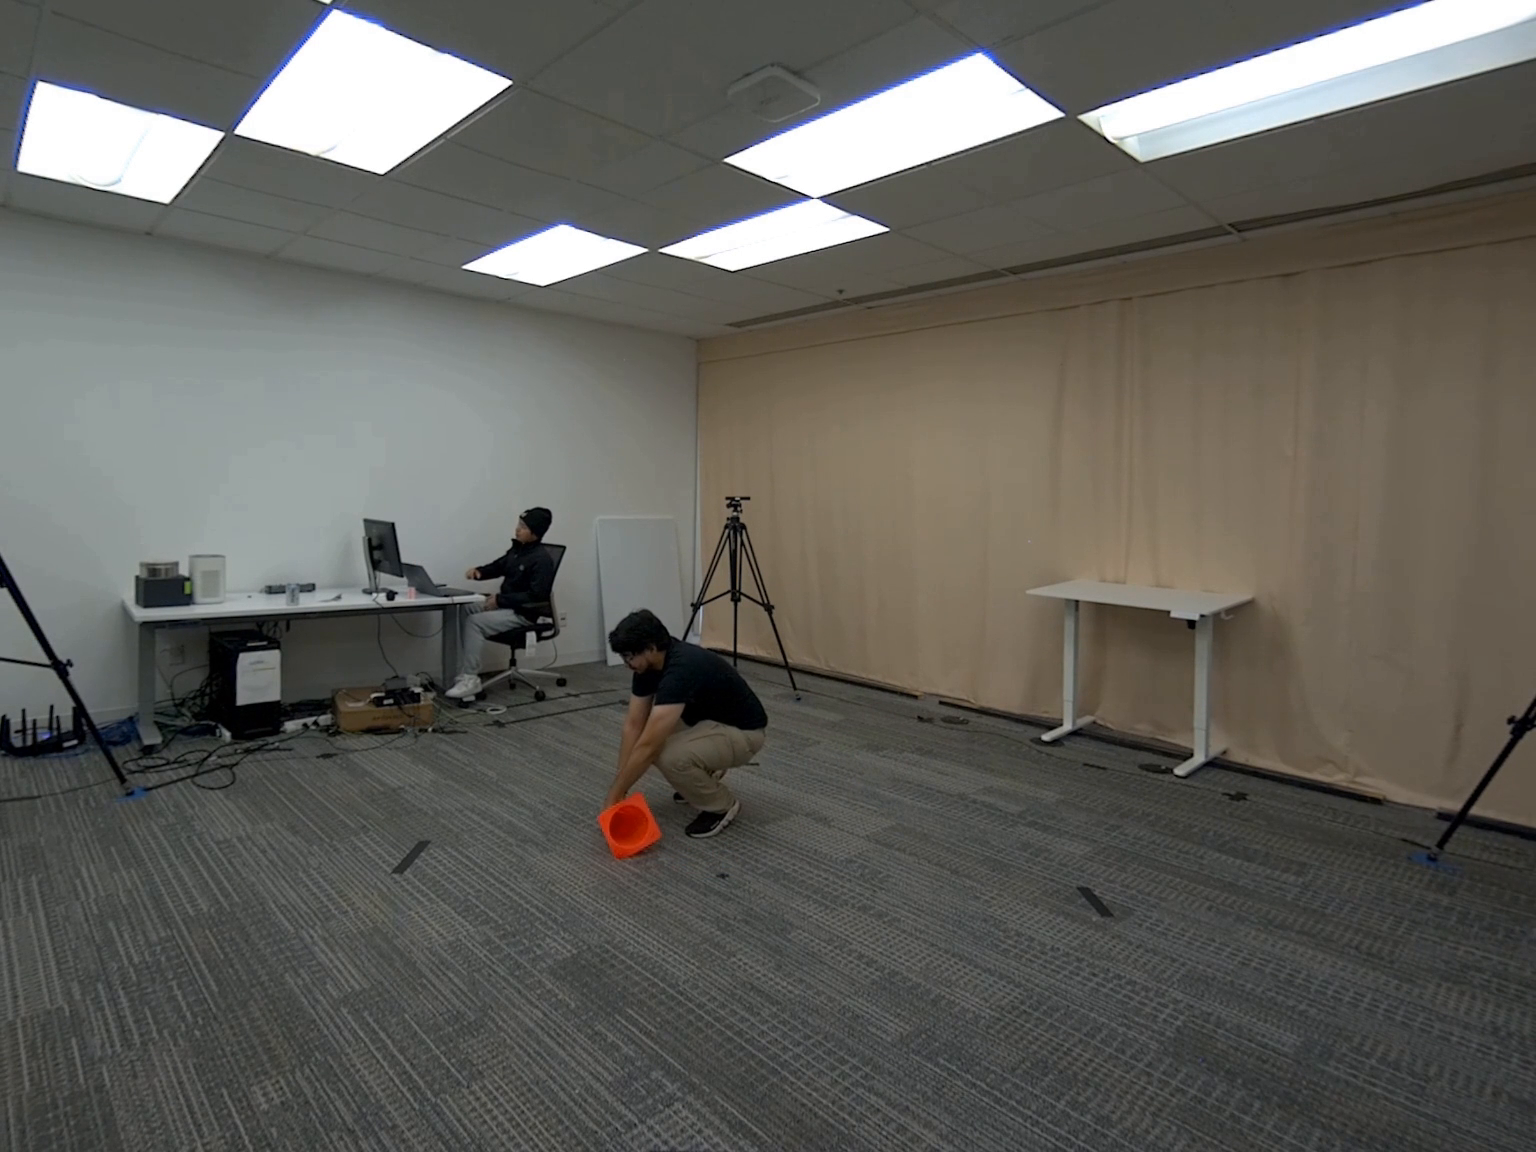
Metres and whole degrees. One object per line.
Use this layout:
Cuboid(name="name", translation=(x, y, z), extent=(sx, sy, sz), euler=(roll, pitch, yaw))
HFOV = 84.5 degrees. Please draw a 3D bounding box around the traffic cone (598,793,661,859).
Cuboid(name="traffic cone", translation=(-0.633, 1.005, 3.421), extent=(0.201, 0.205, 0.388), euler=(-25, 2, -29))
